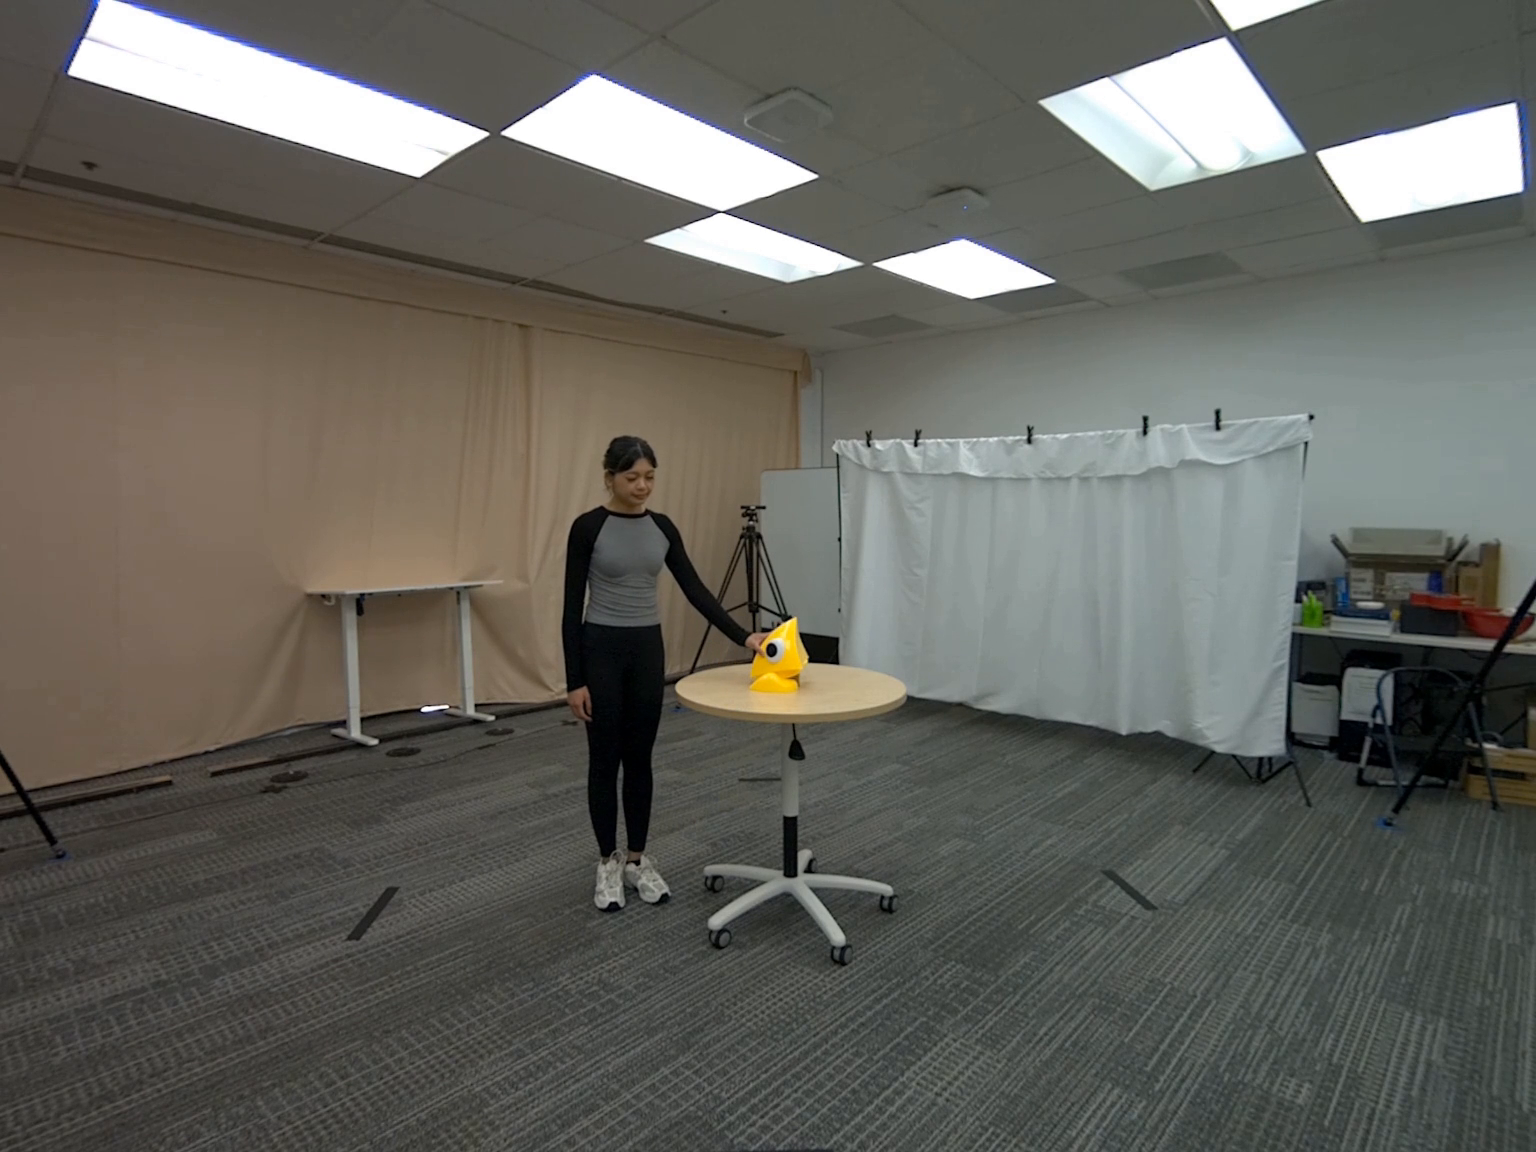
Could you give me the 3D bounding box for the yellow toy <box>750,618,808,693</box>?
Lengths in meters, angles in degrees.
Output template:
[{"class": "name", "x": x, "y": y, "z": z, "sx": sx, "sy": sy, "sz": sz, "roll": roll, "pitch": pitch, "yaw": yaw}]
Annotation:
[{"class": "yellow toy", "x": 0.035, "y": 0.254, "z": 2.799, "sx": 0.195, "sy": 0.230, "sz": 0.203, "roll": 1, "pitch": 3, "yaw": 10}]
